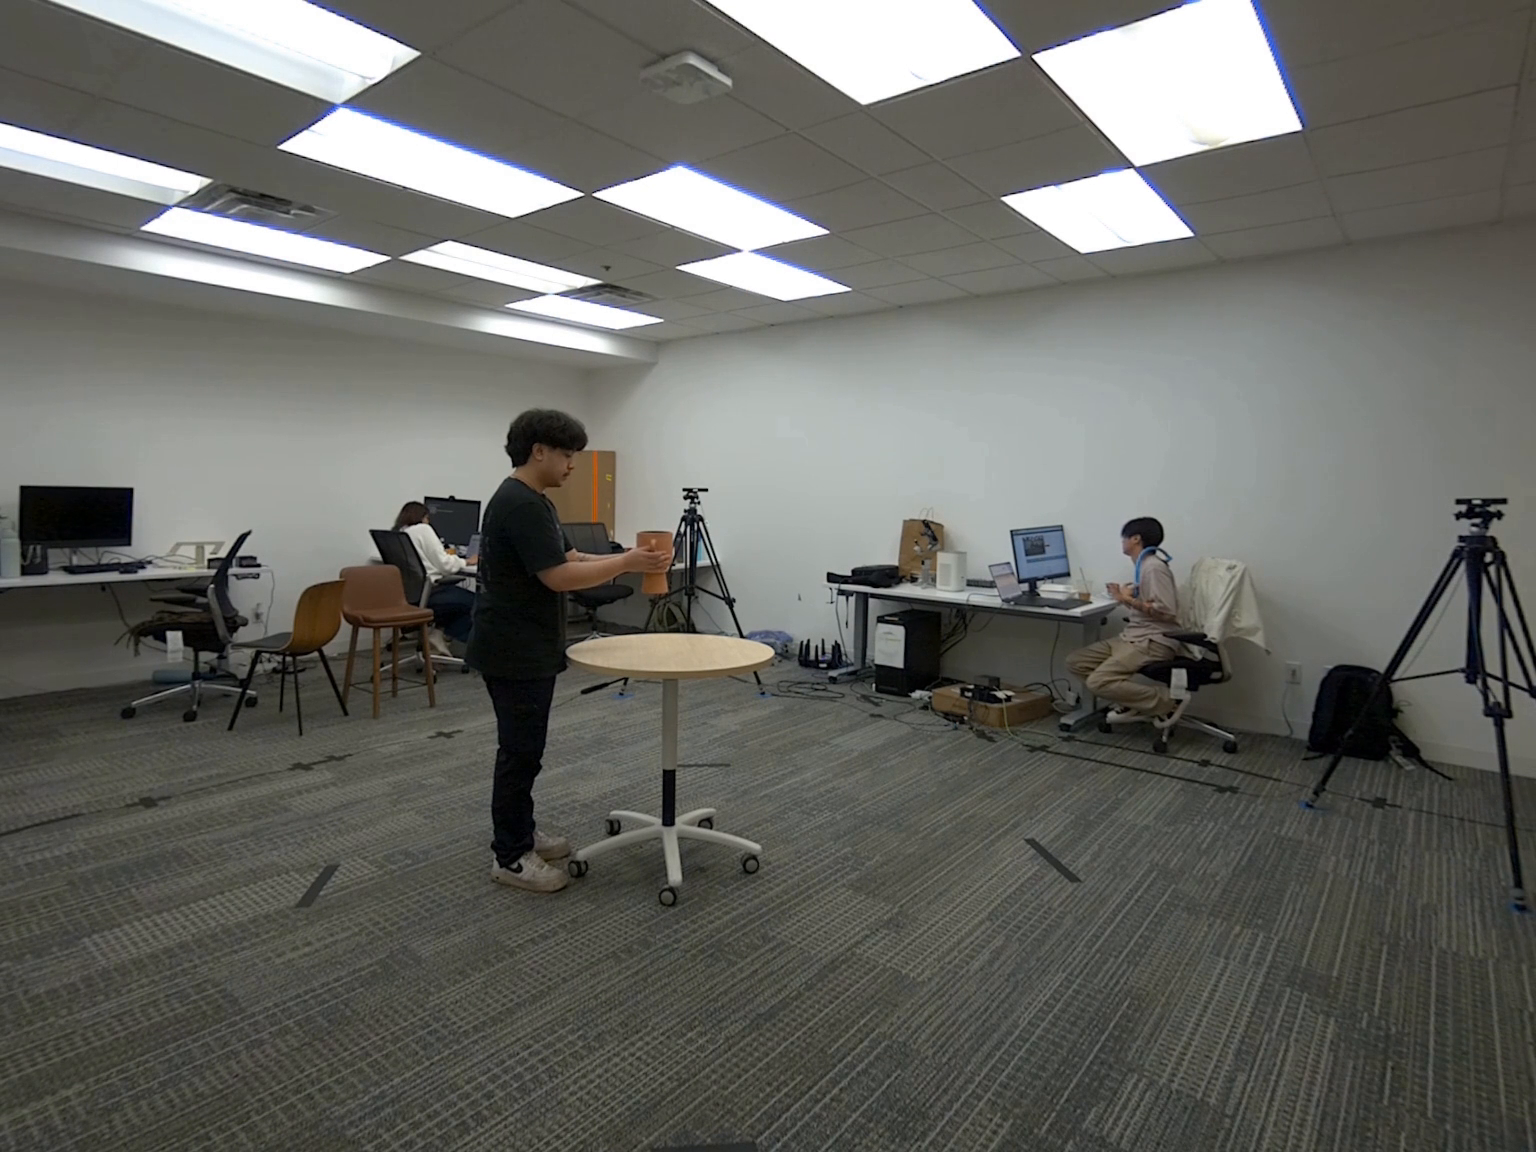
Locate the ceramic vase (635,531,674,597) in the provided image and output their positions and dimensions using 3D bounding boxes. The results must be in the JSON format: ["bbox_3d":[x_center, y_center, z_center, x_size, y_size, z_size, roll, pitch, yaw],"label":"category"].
[{"bbox_3d":[-0.431,-0.049,3.105,0.139,0.219,0.154,1,2,35],"label":"ceramic vase"}]
